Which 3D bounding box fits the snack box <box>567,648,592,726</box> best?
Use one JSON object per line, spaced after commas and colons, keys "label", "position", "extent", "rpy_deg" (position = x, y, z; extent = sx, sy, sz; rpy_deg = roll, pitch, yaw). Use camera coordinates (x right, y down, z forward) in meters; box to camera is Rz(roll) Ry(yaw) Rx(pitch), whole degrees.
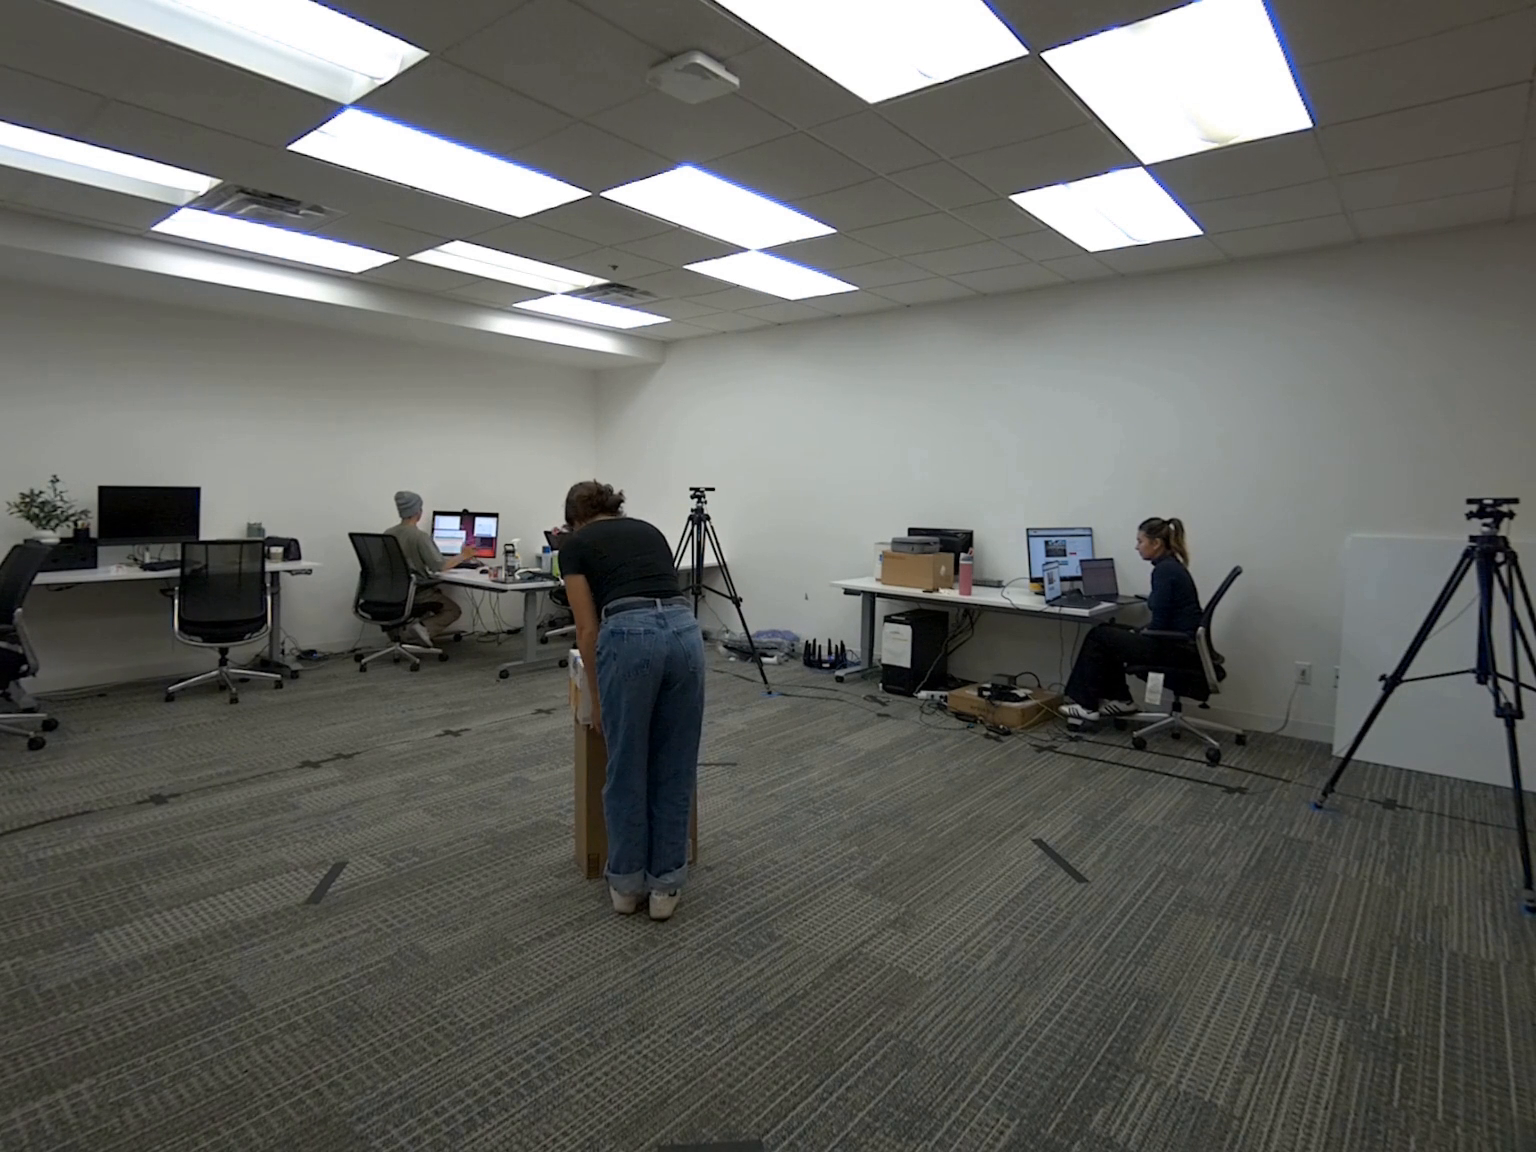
{"label": "snack box", "position": [-0.515, 0.390, 3.126], "extent": [0.397, 0.205, 0.348], "rpy_deg": [0, 5, -19]}
